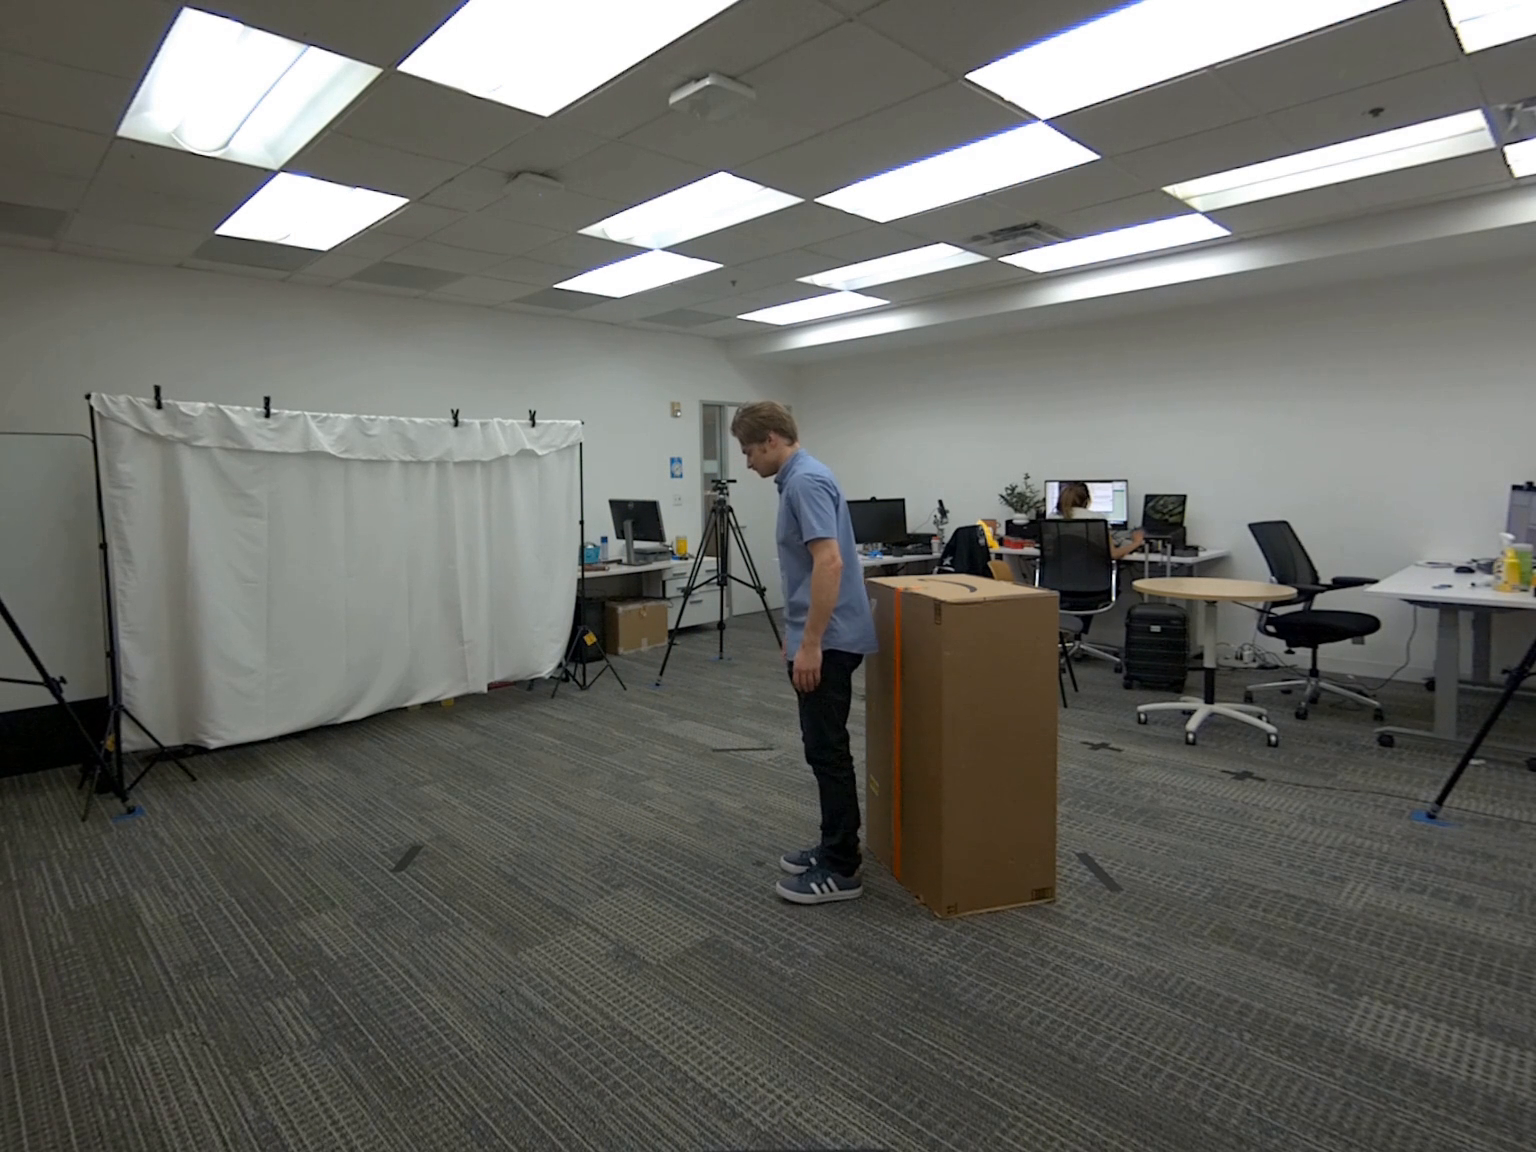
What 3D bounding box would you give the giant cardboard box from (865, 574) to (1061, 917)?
[{"bbox_3d":[0.654,0.544,2.981,0.440,1.023,0.596,-2,5,-18],"label":"giant cardboard box"}]
